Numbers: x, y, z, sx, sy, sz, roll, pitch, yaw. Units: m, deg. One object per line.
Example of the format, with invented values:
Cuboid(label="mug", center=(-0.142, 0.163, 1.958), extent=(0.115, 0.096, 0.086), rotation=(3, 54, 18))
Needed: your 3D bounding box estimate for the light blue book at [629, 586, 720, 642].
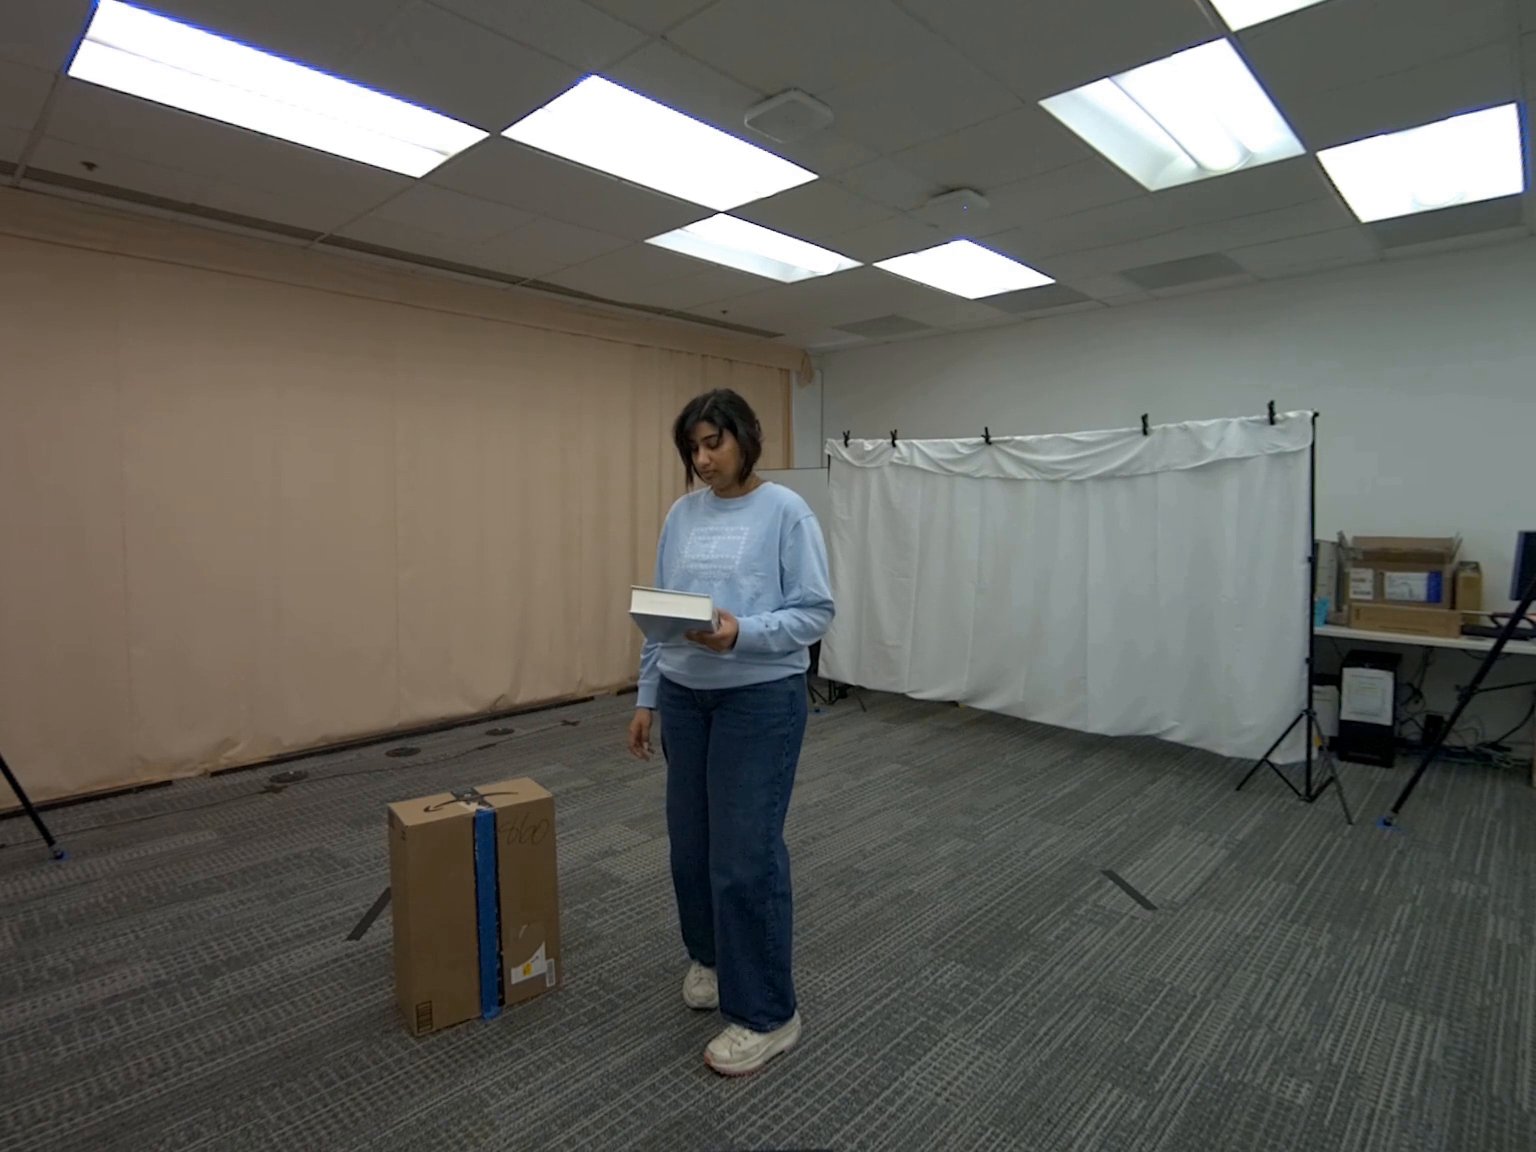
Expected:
Cuboid(label="light blue book", center=(-0.217, 0.102, 1.972), extent=(0.194, 0.059, 0.255), rotation=(5, -19, 10))
